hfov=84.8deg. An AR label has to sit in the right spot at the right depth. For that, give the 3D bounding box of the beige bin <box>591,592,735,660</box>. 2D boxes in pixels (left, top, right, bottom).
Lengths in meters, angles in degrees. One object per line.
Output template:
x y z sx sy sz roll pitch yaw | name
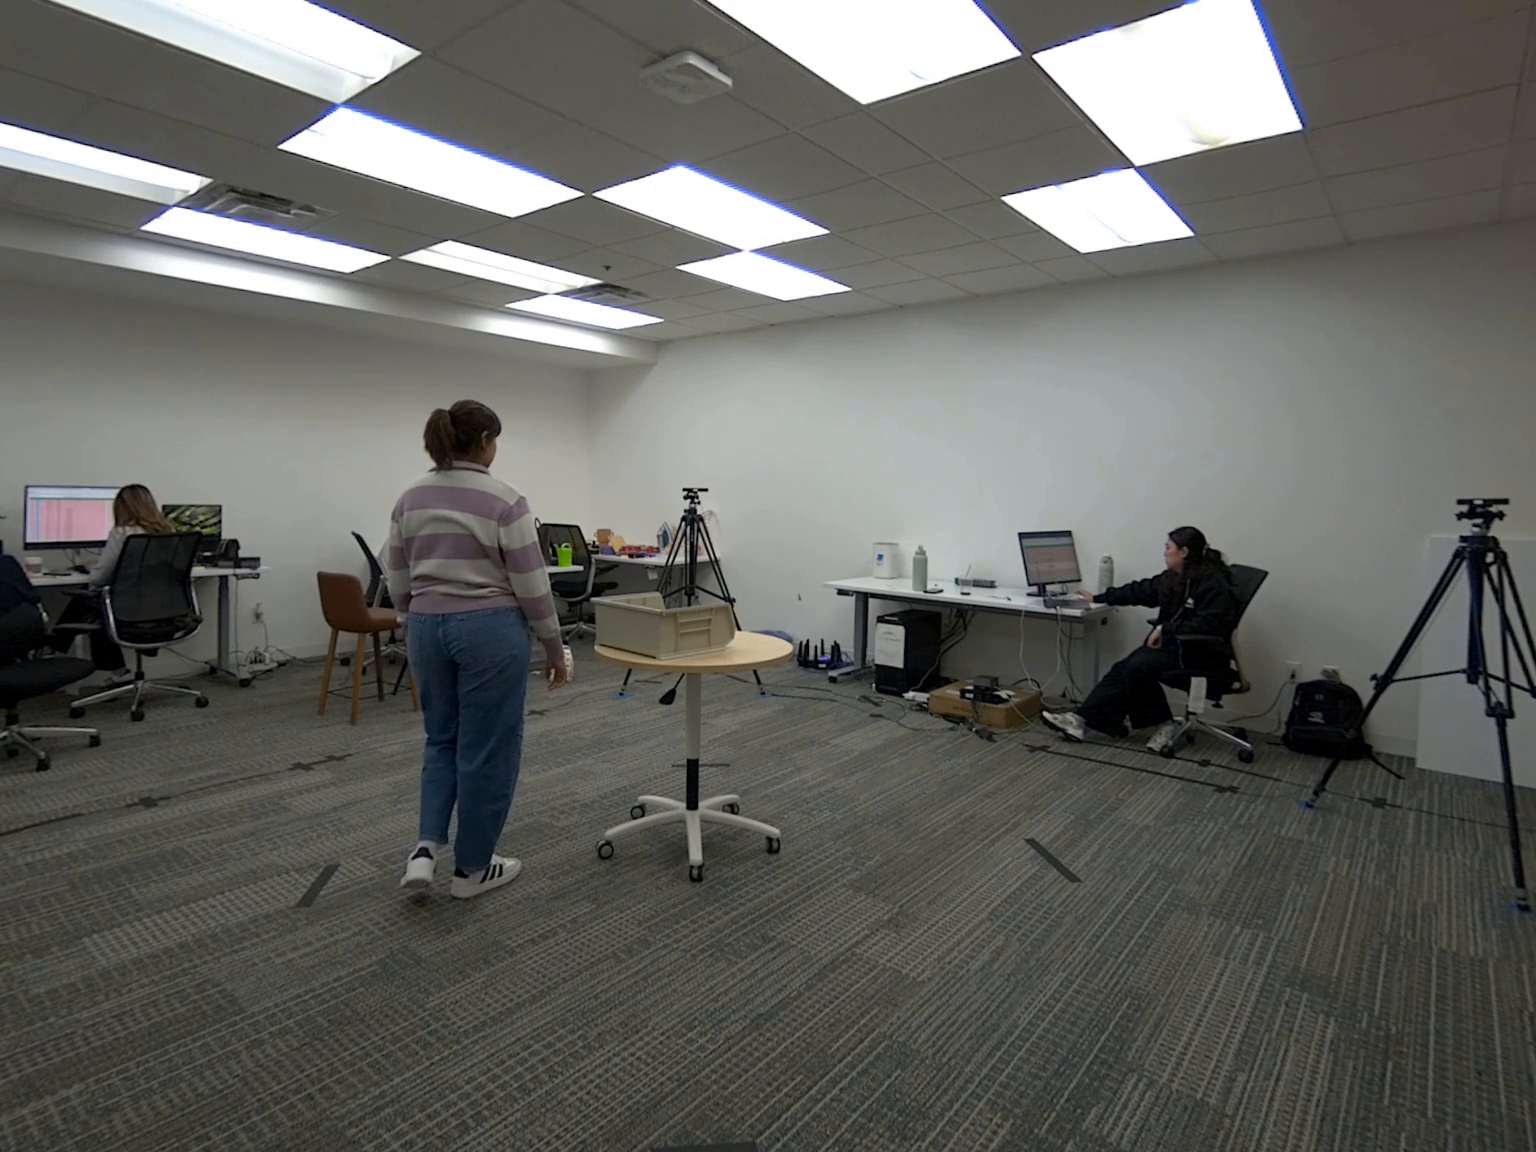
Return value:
-0.414 0.180 3.255 0.437 0.188 0.366 6 9 45 | beige bin
